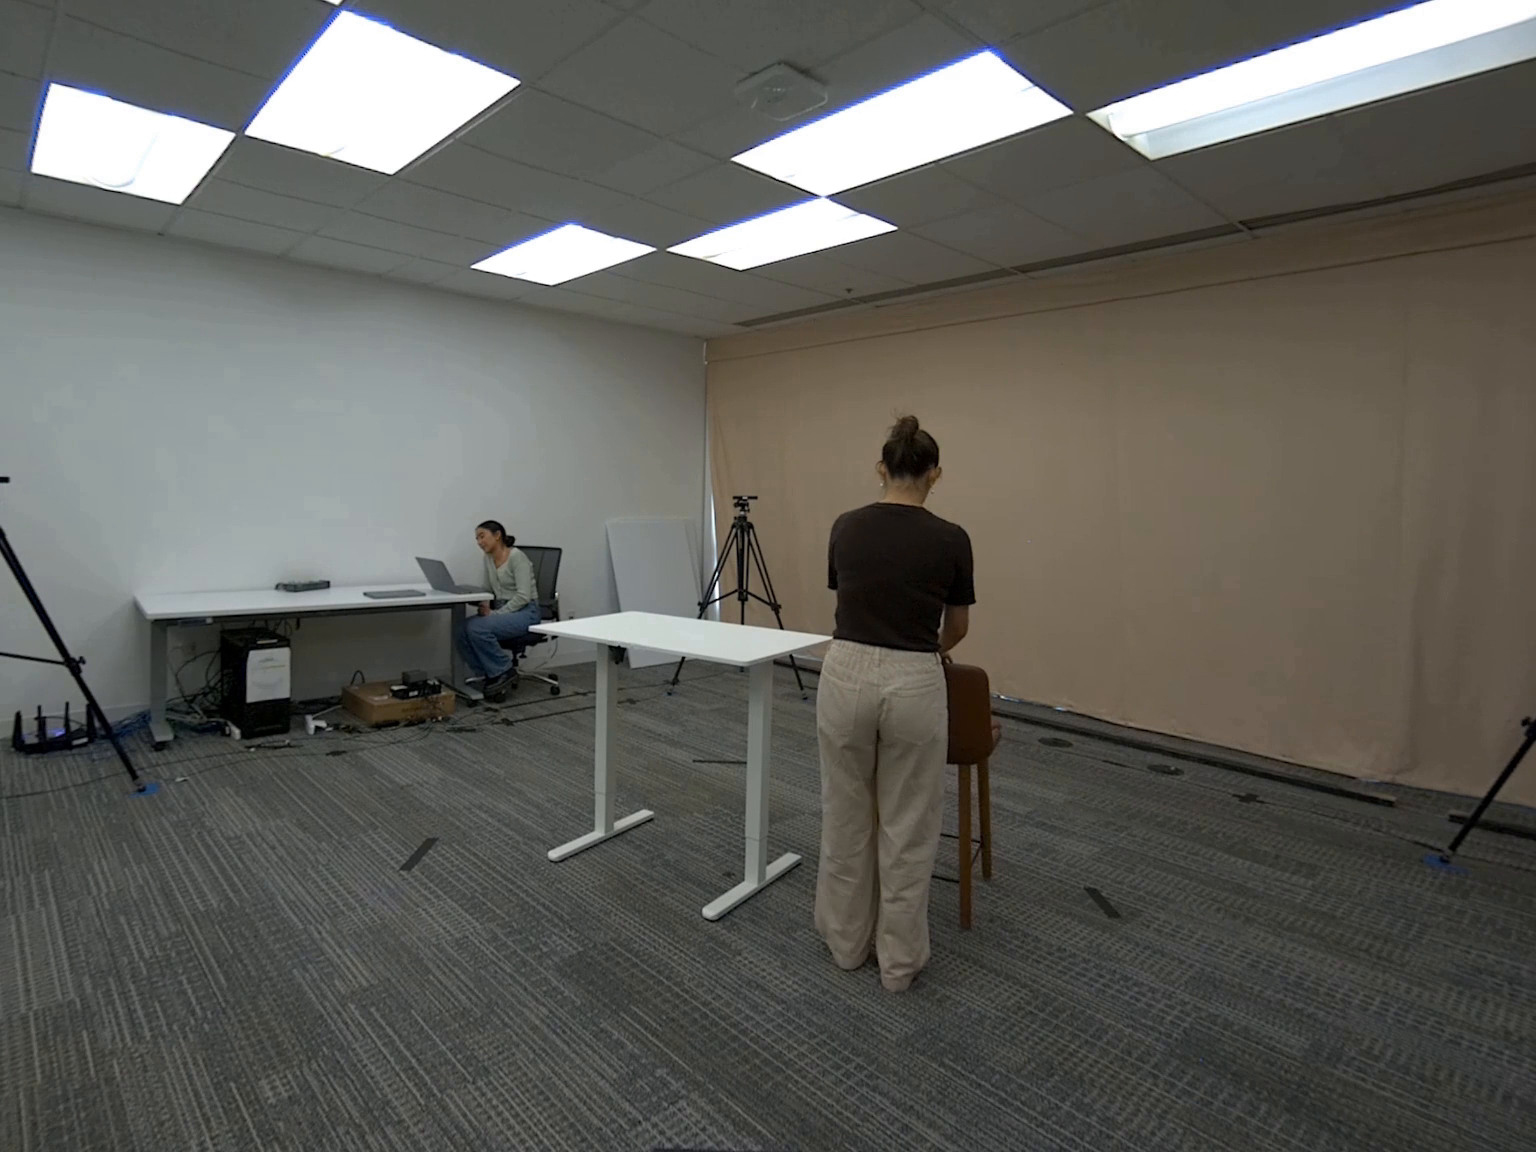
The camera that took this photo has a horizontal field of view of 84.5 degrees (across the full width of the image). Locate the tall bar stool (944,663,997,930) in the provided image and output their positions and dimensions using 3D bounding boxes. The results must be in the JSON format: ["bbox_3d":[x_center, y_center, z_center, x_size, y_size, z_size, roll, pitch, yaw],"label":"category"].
[{"bbox_3d":[0.566,0.694,2.972,0.465,0.886,0.461,3,7,22],"label":"tall bar stool"}]
